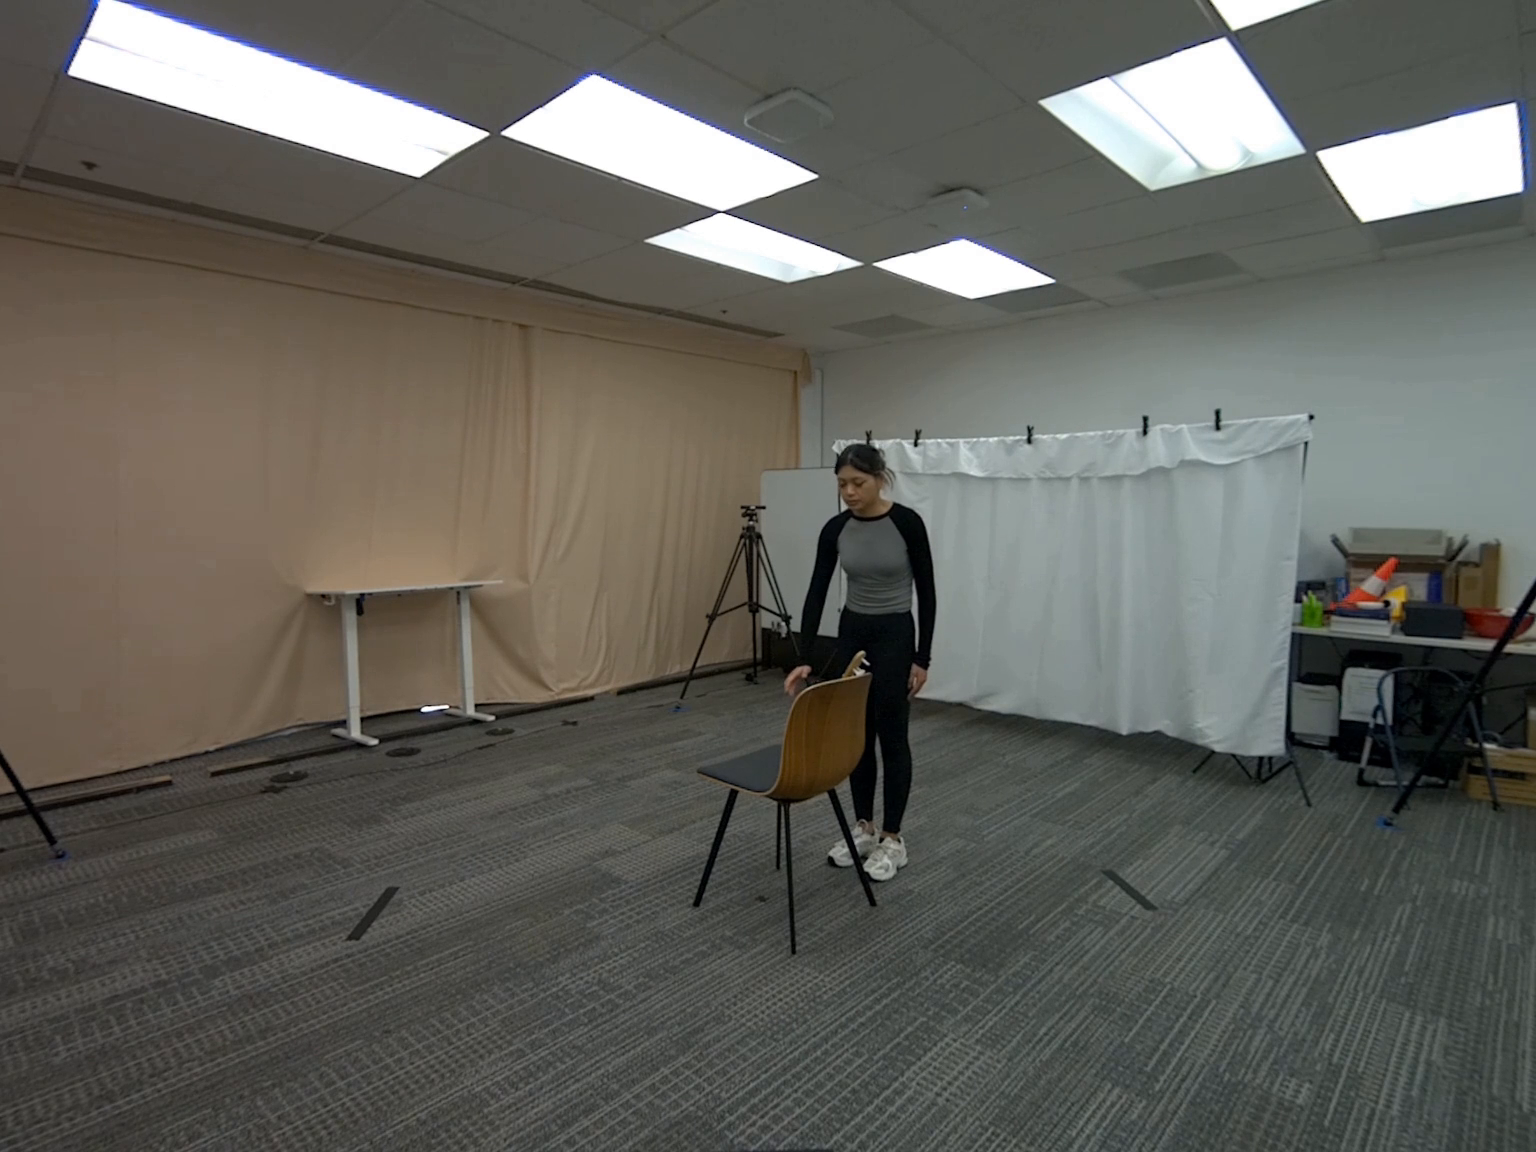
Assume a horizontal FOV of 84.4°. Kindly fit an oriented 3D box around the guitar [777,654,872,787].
[{"bbox_3d":[0.197,0.463,2.794,0.073,0.495,0.188,40,35,28],"label":"guitar"}]
